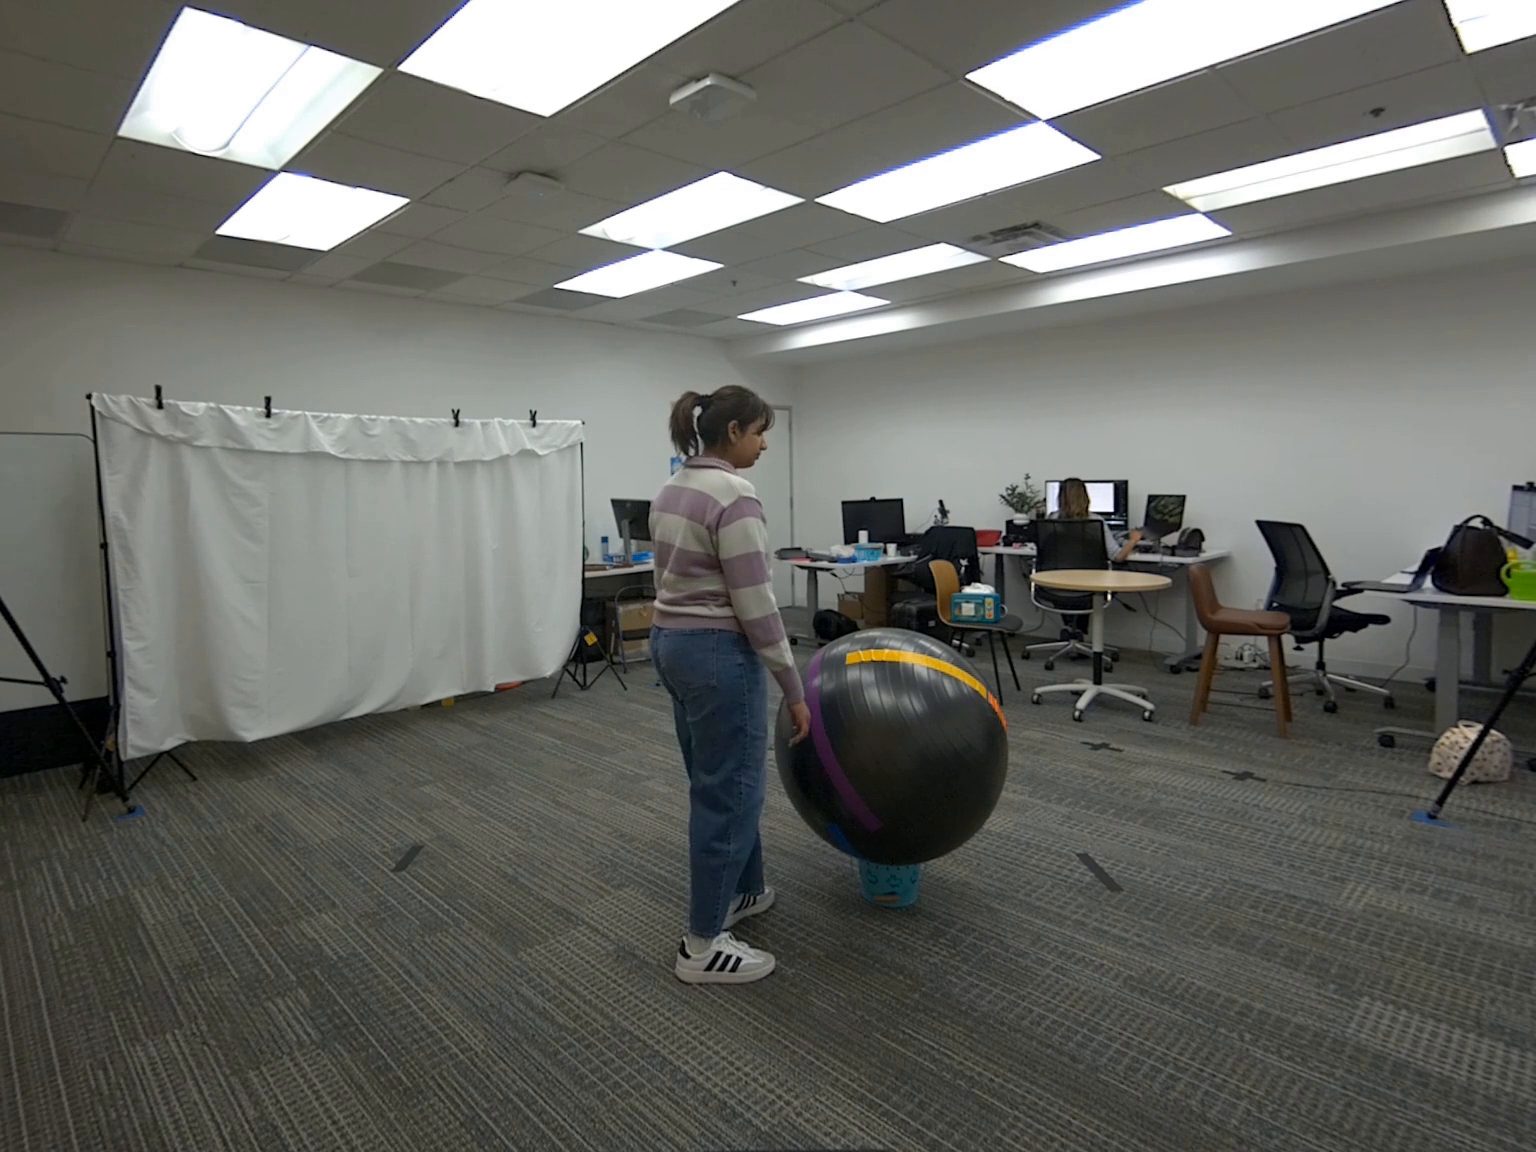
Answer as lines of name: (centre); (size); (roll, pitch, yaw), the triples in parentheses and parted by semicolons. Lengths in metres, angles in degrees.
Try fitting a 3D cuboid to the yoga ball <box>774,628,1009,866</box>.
yoga ball: (0.409, 0.559, 2.837); (0.757, 0.755, 0.762); (-1, 5, -2)
